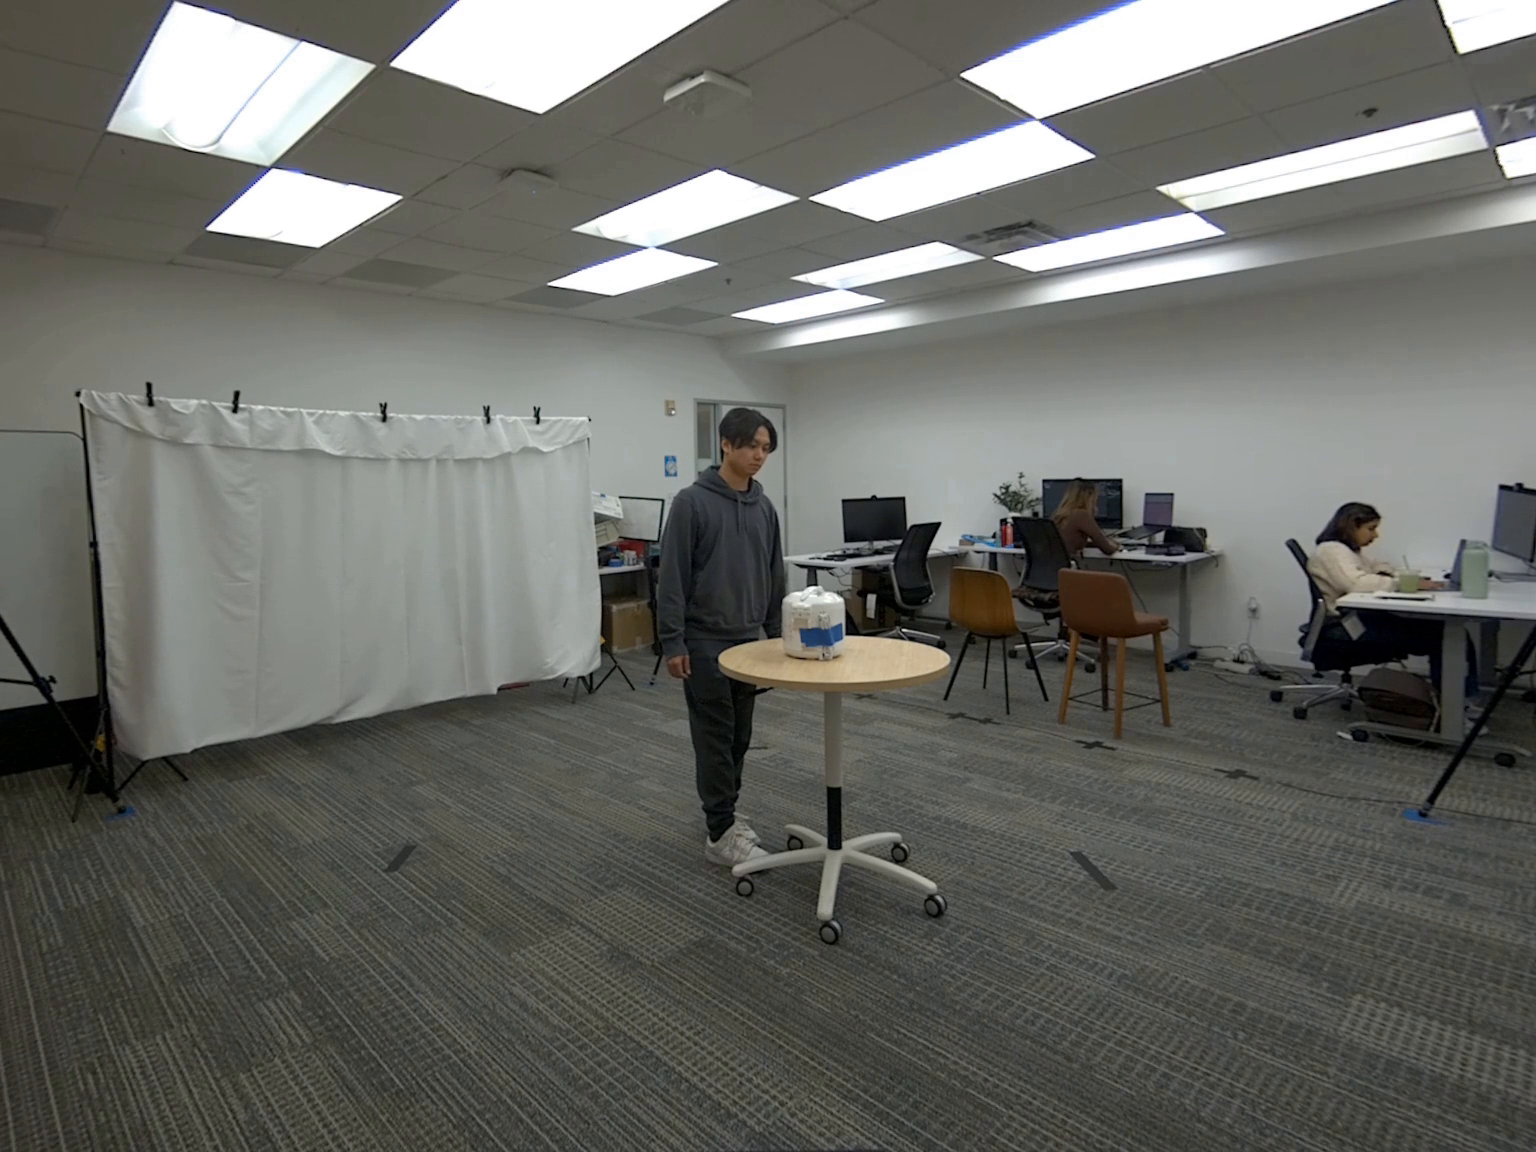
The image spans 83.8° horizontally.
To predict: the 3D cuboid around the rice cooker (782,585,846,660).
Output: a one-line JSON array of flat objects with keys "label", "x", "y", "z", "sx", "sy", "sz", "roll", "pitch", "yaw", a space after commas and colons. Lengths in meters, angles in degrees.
[{"label": "rice cooker", "x": 0.156, "y": 0.153, "z": 2.874, "sx": 0.223, "sy": 0.232, "sz": 0.216, "roll": 2, "pitch": 6, "yaw": 28}]
